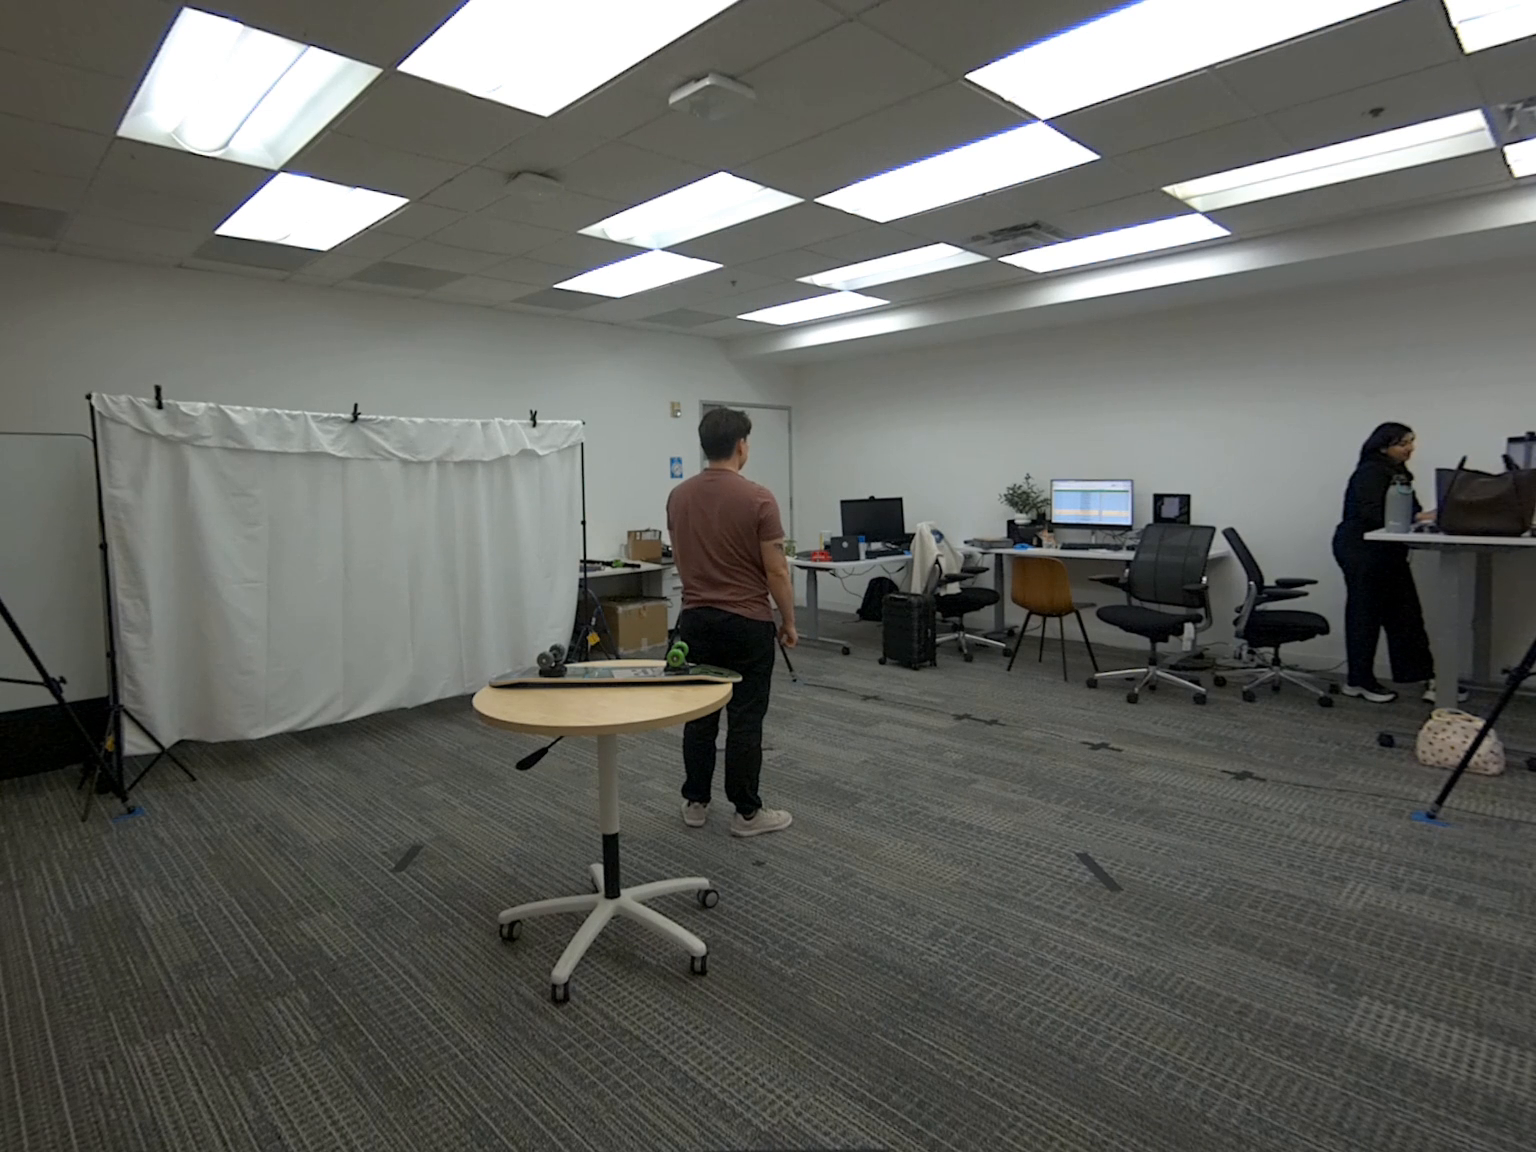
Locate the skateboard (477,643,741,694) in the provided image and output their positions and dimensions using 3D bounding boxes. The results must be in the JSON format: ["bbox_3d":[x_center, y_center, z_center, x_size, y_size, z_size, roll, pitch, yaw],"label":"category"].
[{"bbox_3d":[-0.481,0.281,2.657,0.787,0.110,0.194,-1,5,2],"label":"skateboard"}]
